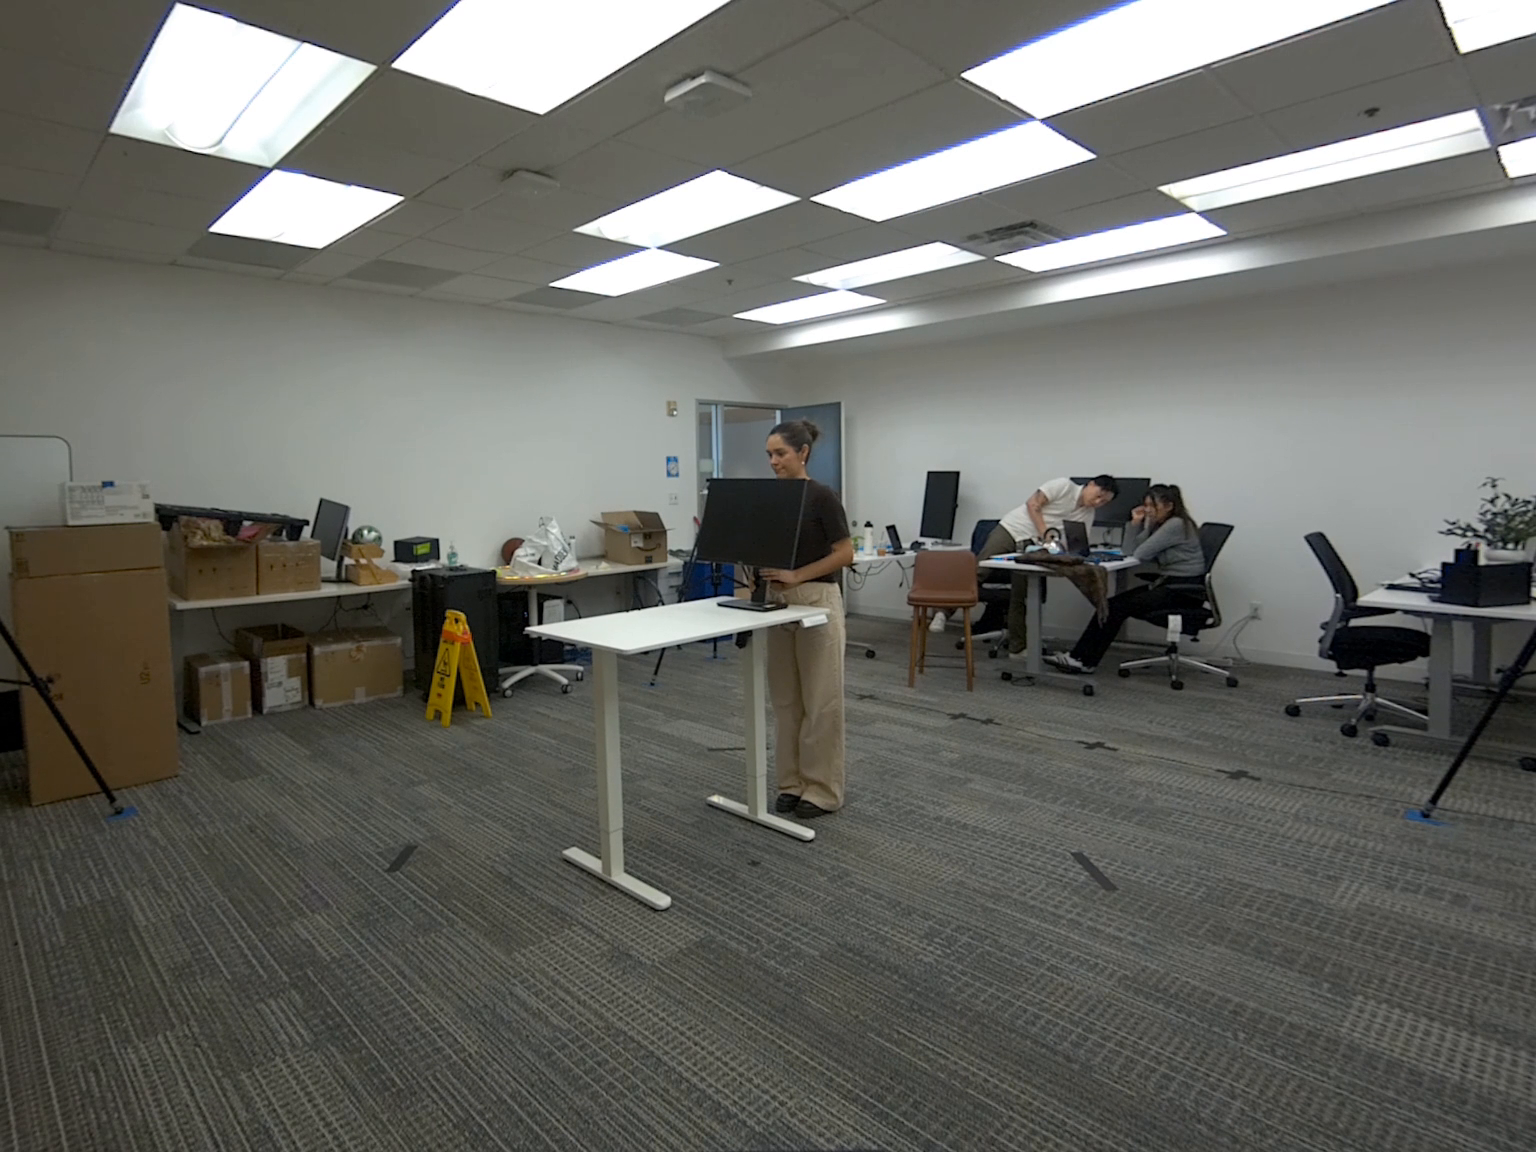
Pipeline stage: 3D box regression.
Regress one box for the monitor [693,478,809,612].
[{"bbox_3d":[-0.061,-0.133,3.420,0.547,0.513,0.170,6,10,43],"label":"monitor"}]
